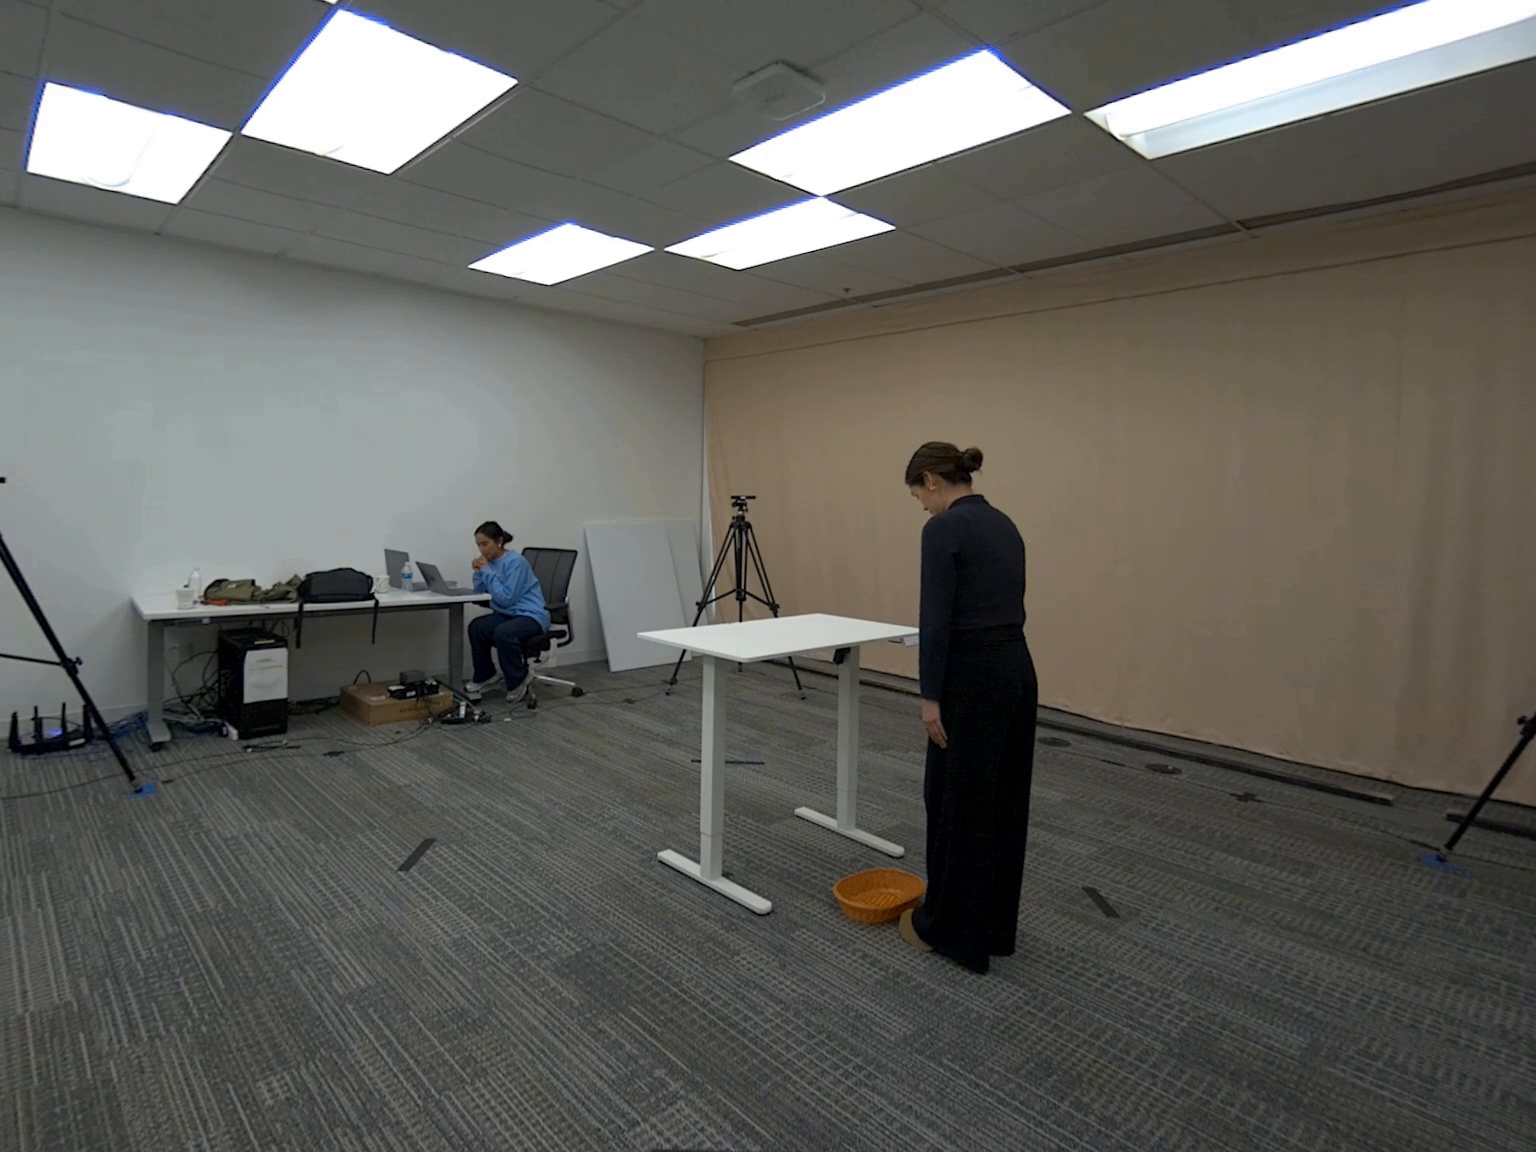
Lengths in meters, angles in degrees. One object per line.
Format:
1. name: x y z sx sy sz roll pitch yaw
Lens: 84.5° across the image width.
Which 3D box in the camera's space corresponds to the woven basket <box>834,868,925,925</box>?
1. woven basket: 0.374 1.090 2.884 0.343 0.073 0.258 -2 5 -37
